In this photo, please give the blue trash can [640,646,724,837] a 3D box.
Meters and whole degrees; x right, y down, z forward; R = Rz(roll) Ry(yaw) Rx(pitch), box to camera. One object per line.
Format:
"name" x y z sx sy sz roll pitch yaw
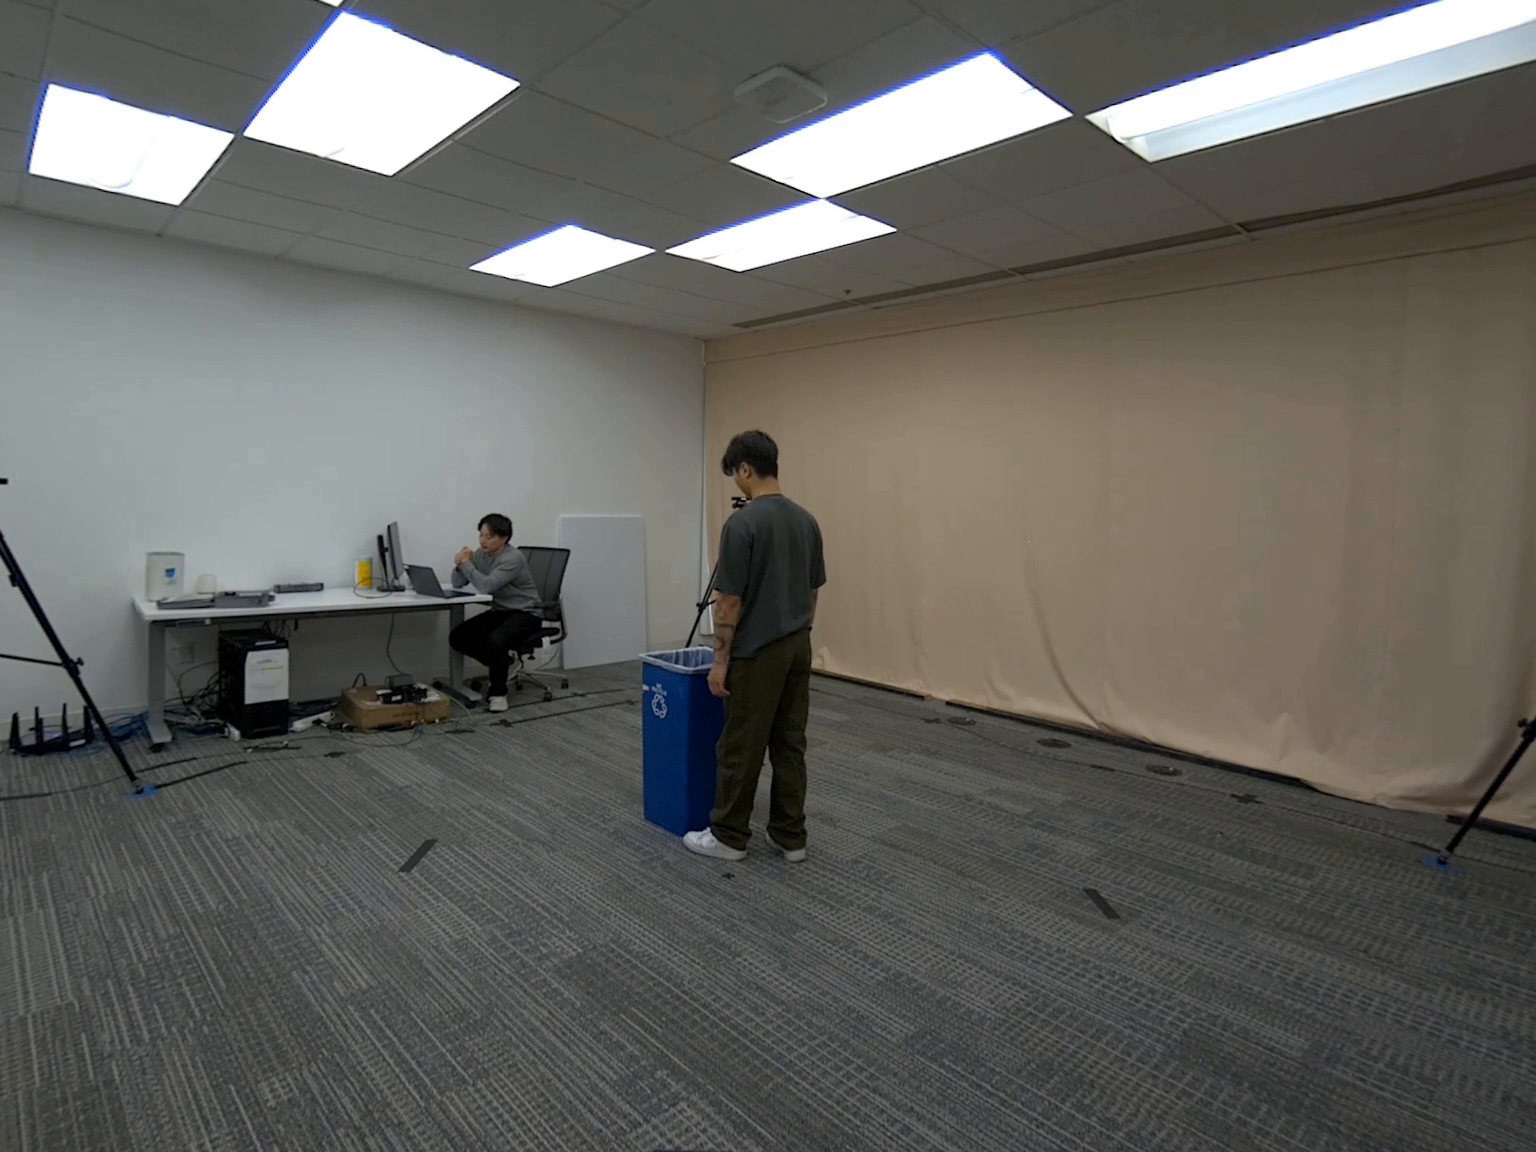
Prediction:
"blue trash can" -0.323 0.701 3.621 0.369 0.712 0.383 -2 4 -43
